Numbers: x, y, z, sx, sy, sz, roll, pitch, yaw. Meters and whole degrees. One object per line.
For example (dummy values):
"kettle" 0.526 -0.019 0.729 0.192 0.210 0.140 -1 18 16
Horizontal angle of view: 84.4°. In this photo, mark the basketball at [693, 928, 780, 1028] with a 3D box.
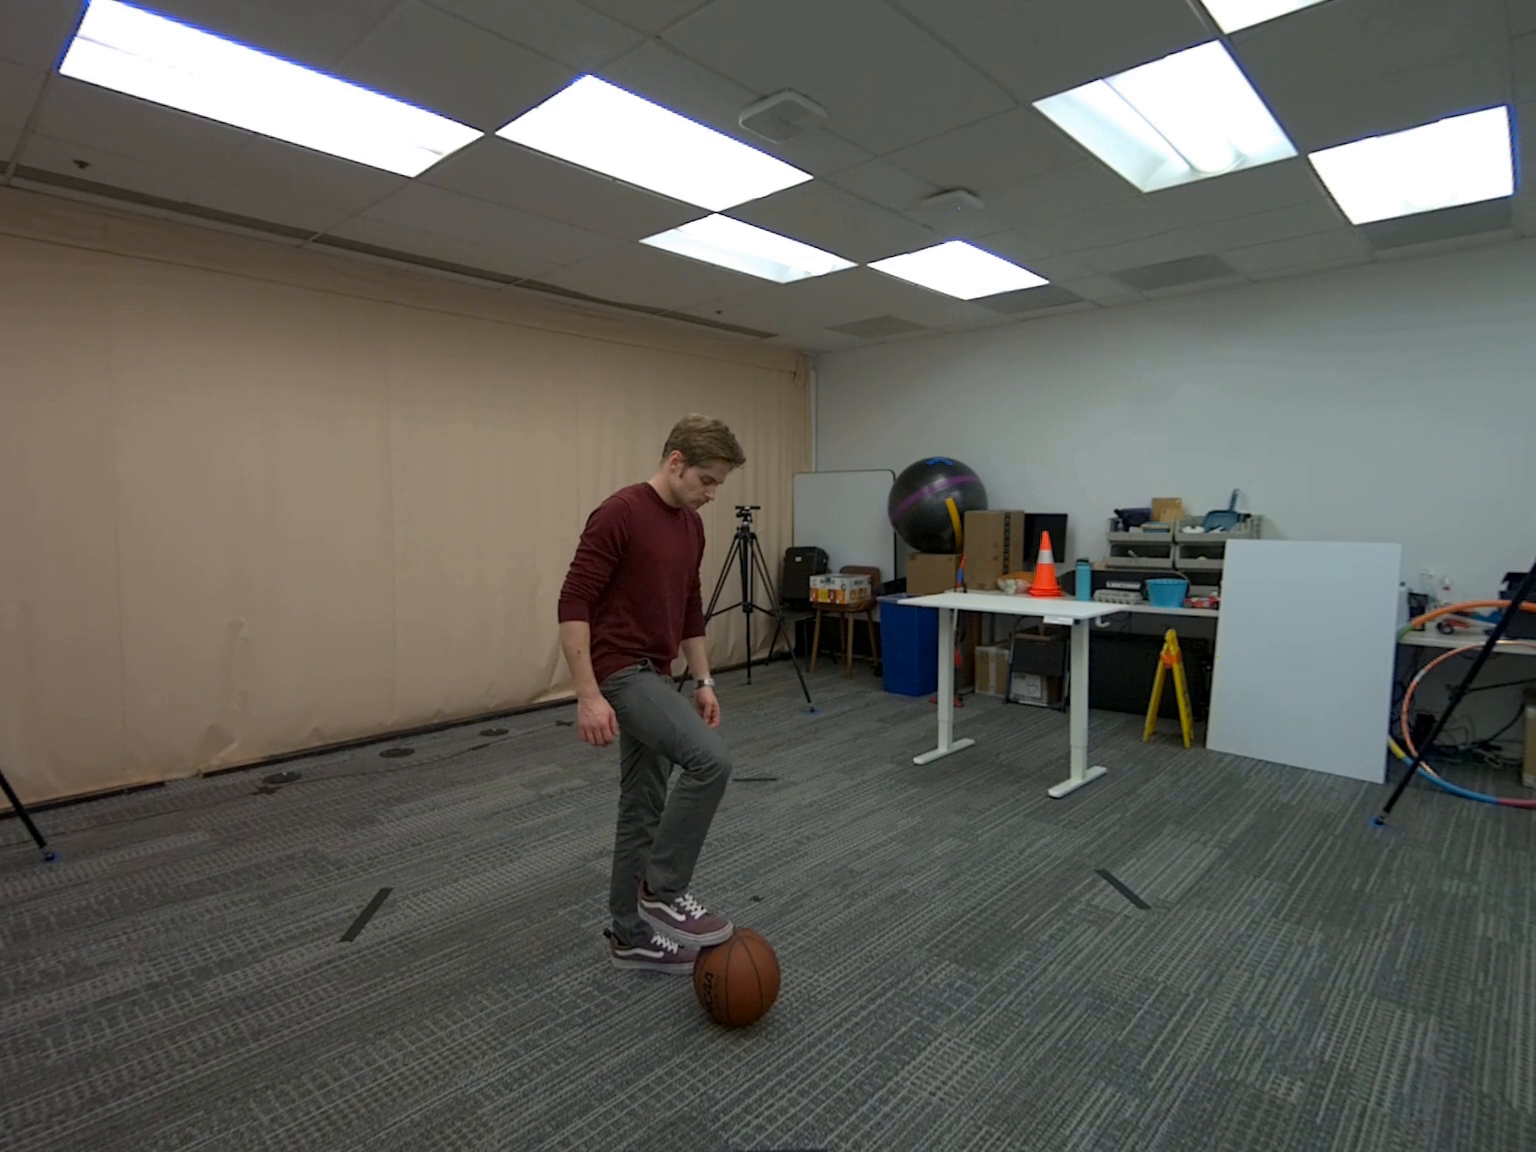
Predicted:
"basketball" -0.078 1.082 2.284 0.236 0.235 0.237 0 4 -2
